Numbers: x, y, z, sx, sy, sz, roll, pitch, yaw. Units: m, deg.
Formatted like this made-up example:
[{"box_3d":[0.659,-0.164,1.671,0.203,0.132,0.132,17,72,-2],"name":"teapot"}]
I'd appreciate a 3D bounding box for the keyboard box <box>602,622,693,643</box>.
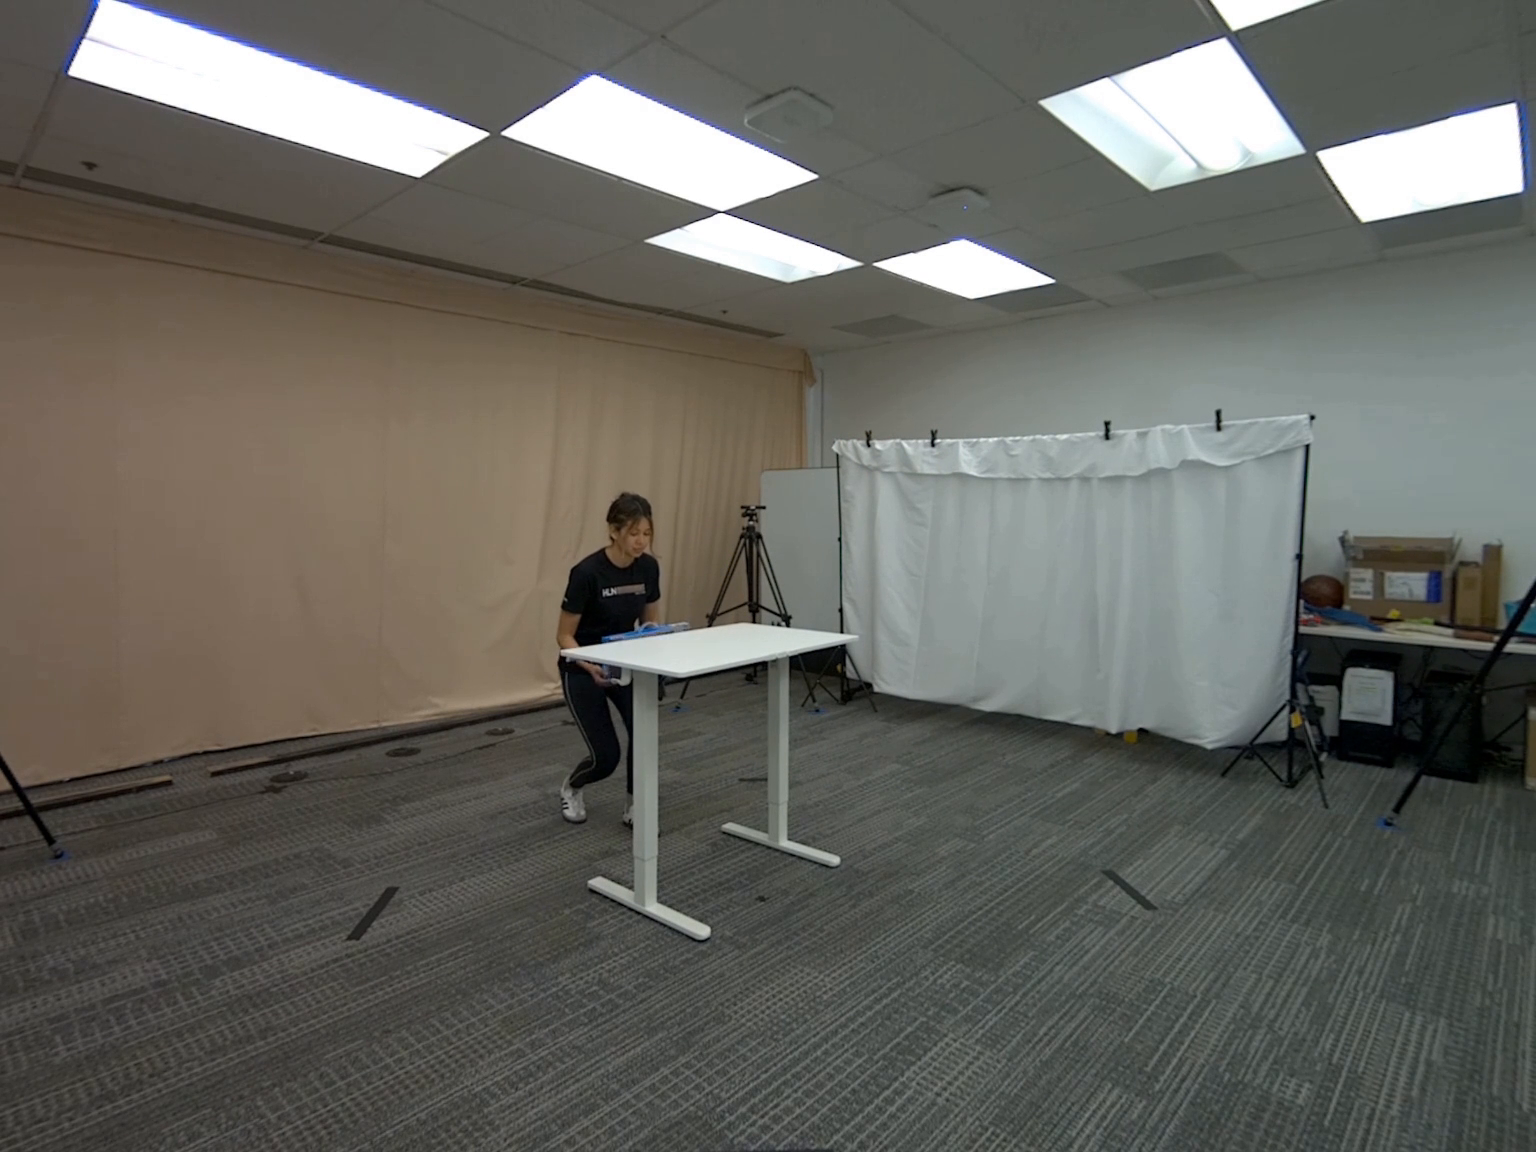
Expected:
[{"box_3d":[-0.481,0.304,3.409,0.061,0.175,0.424,9,12,41],"name":"keyboard box"}]
